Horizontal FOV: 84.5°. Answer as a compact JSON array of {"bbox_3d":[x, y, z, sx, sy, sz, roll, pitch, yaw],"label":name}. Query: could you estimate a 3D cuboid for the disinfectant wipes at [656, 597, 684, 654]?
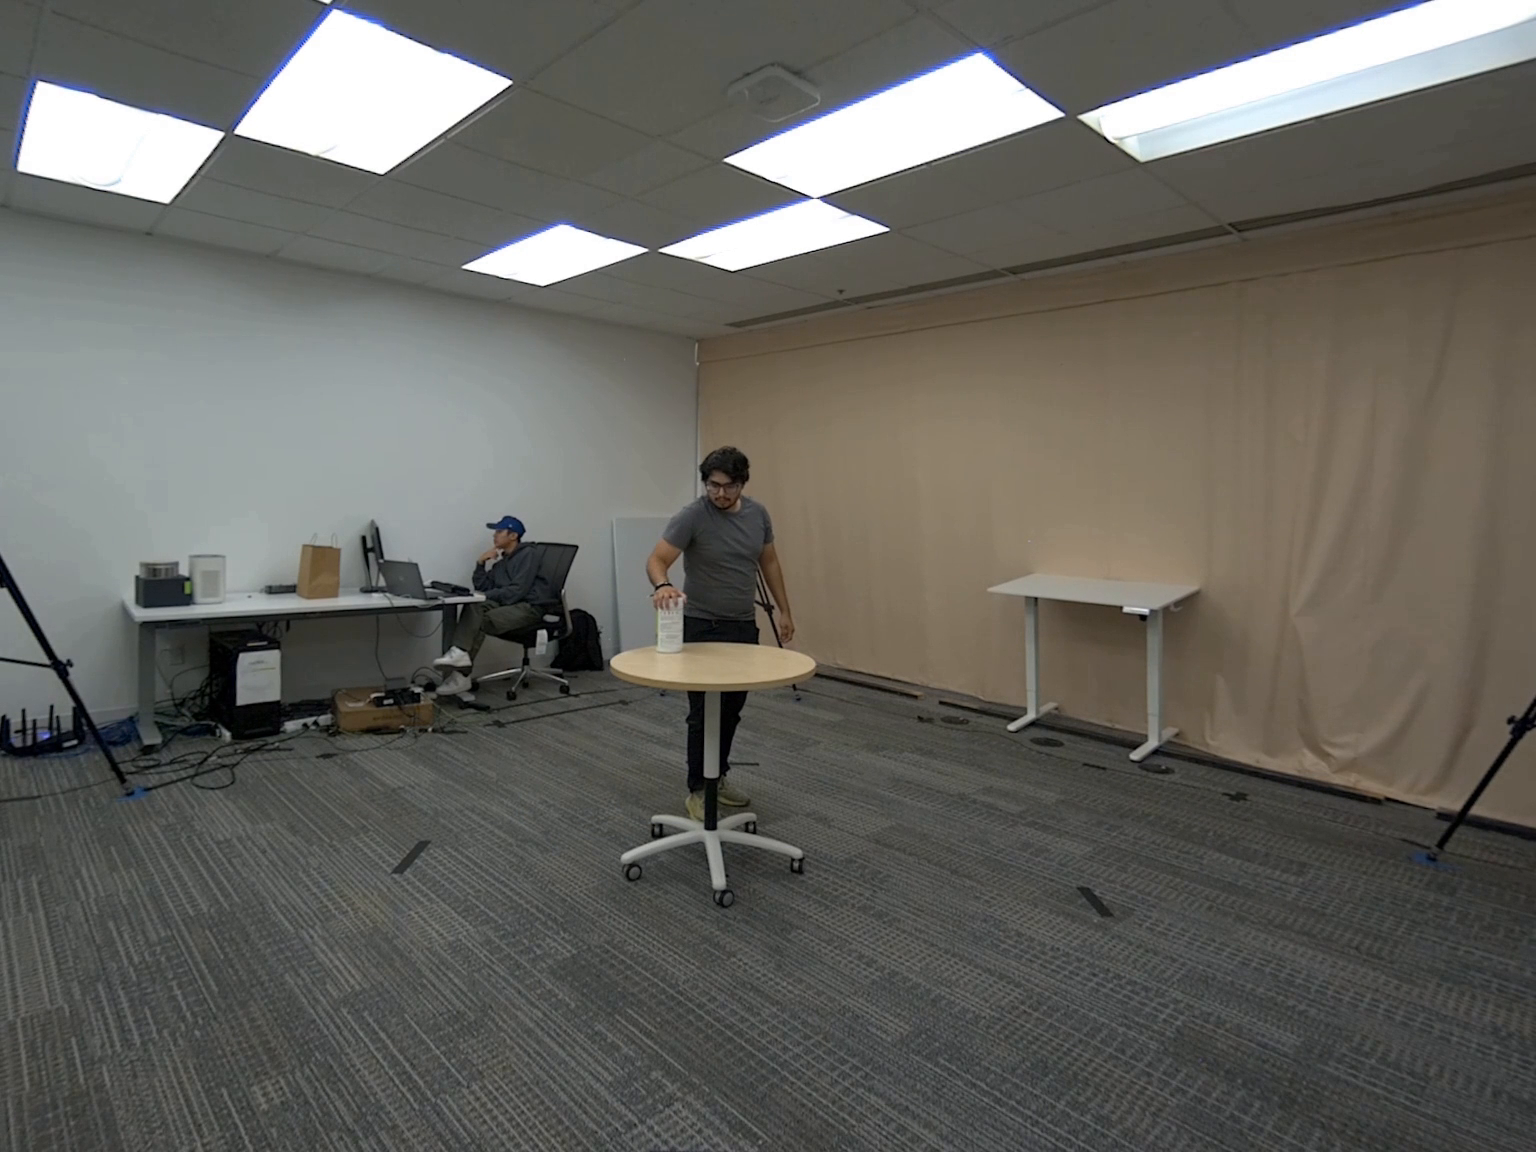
[{"bbox_3d":[-0.405,0.194,3.326,0.118,0.217,0.118,-1,3,-1],"label":"disinfectant wipes"}]
